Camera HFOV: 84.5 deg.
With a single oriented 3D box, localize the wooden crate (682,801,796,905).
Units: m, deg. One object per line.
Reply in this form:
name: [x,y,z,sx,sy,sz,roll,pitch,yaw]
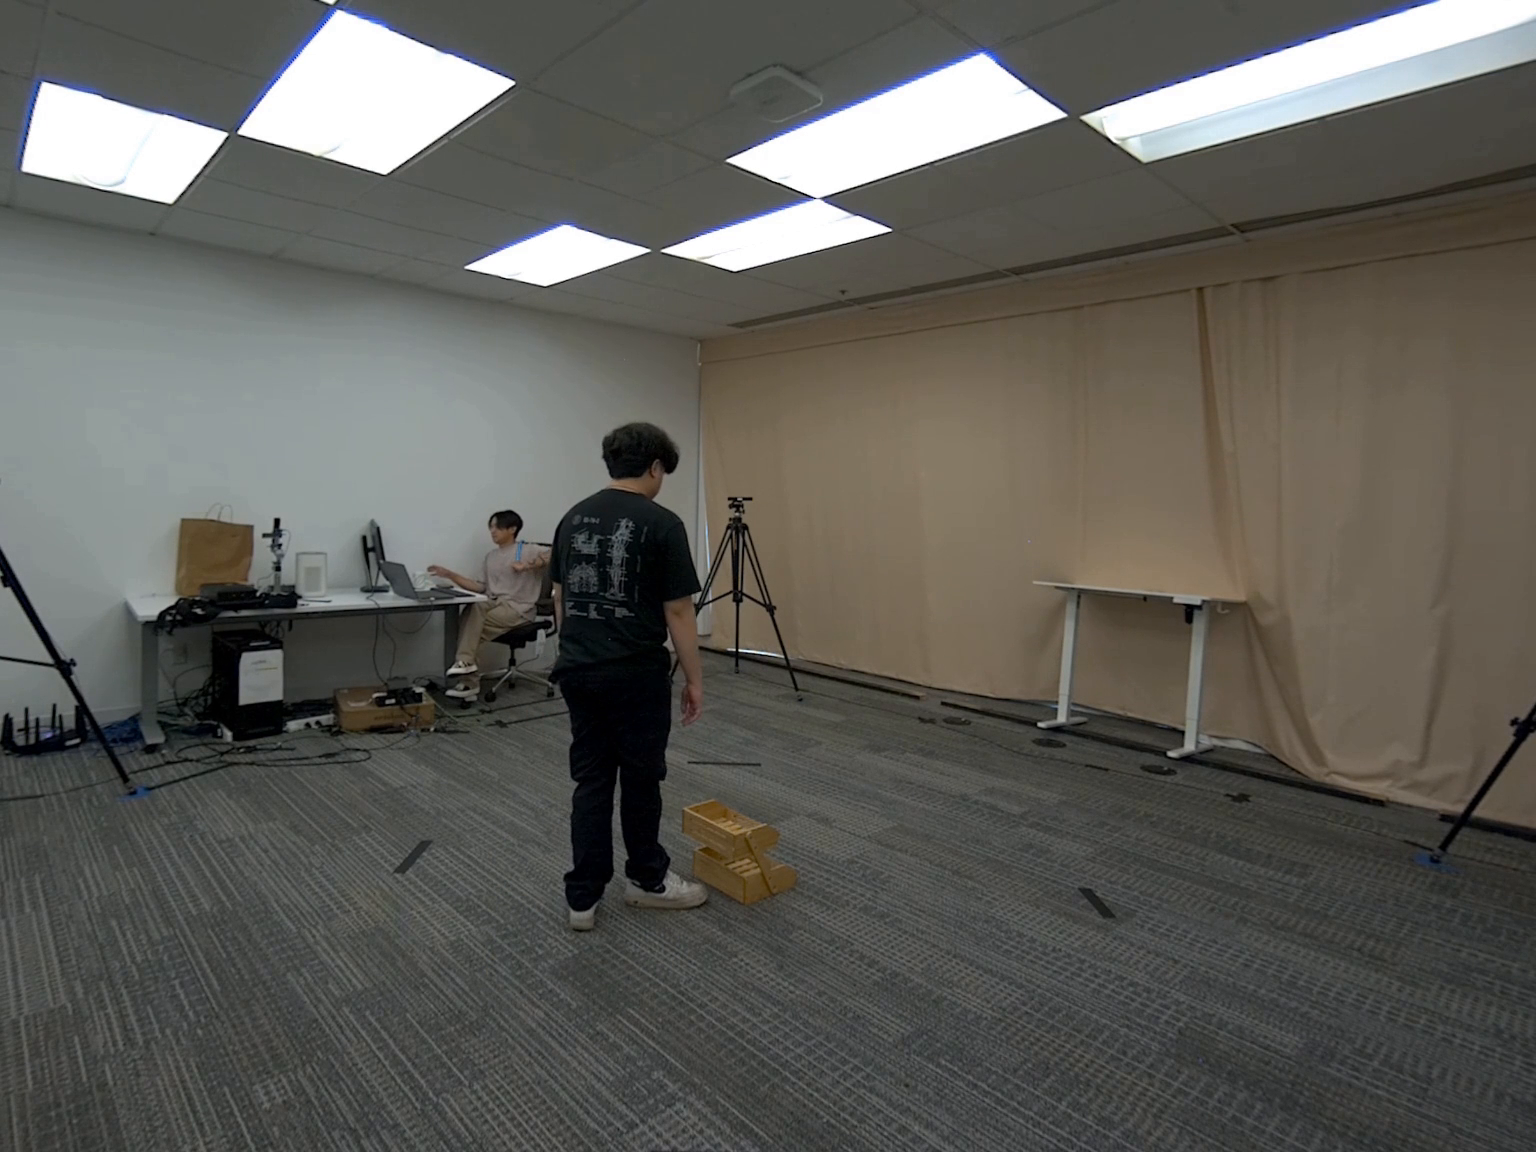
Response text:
wooden crate: [-0.107,0.979,3.055,0.295,0.272,0.333,-4,7,-41]
